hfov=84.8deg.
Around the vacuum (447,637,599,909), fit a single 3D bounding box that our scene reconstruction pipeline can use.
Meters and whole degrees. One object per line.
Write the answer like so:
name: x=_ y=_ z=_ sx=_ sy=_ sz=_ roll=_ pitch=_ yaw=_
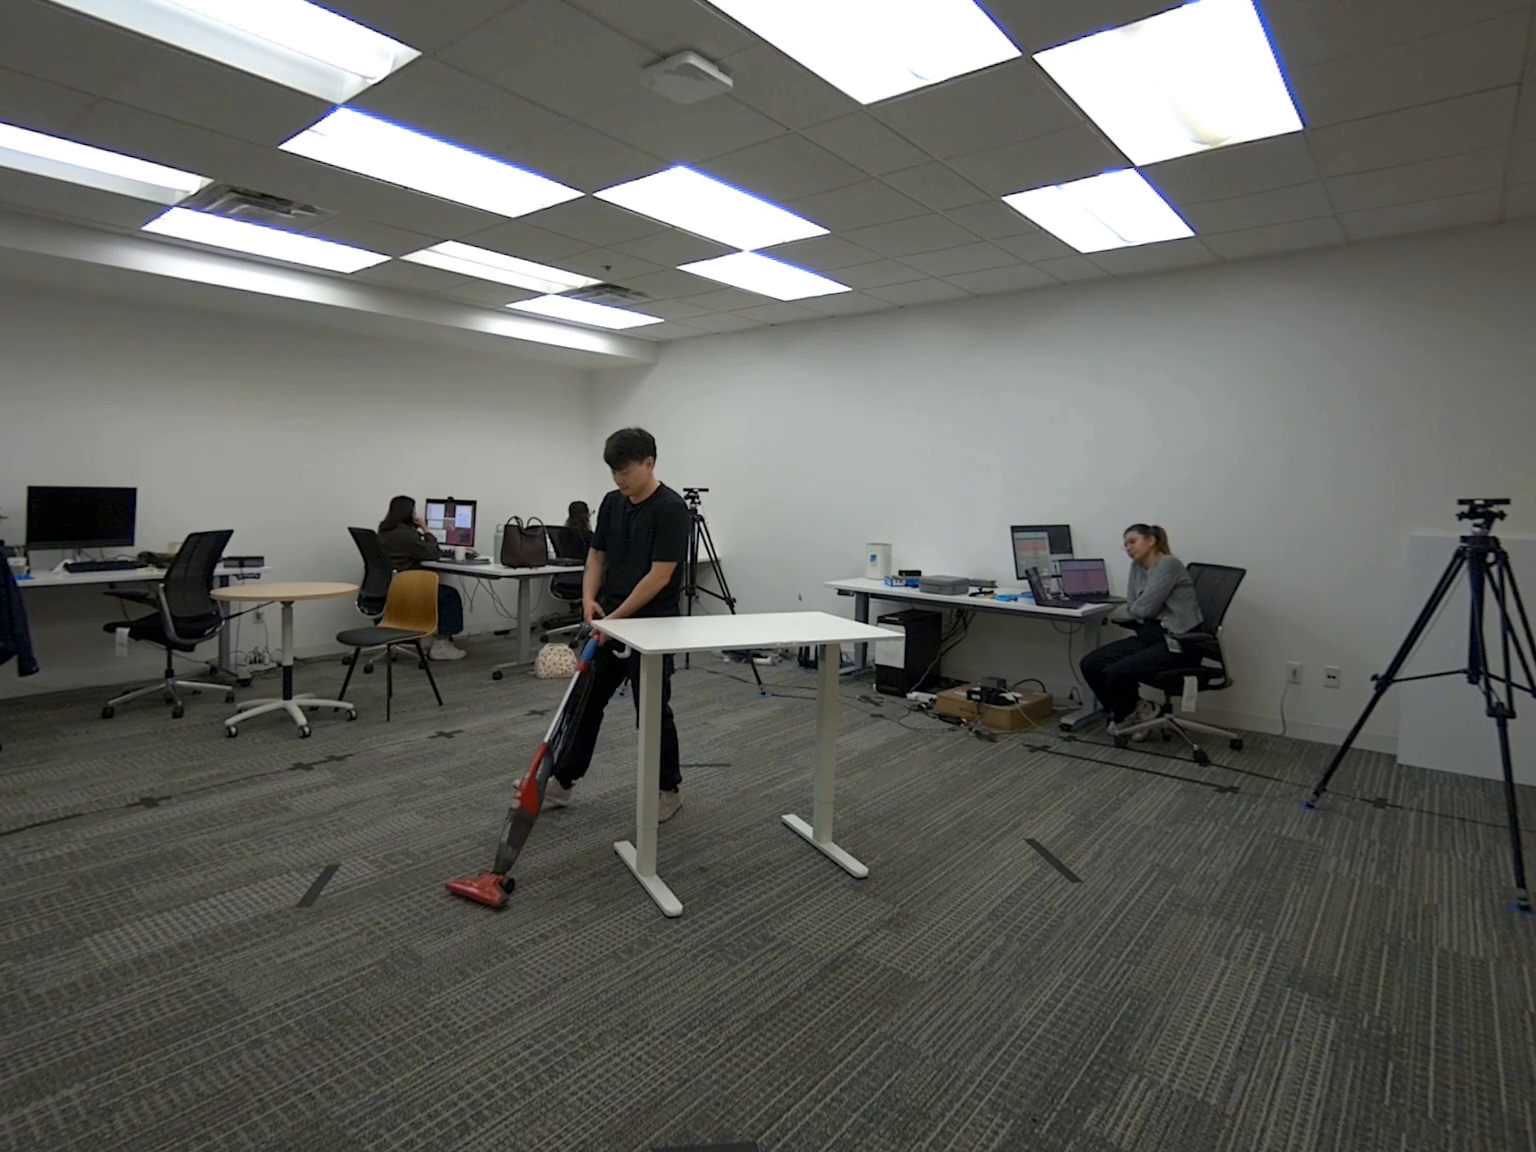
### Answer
vacuum: x=-0.819 y=0.650 z=3.142 sx=0.258 sy=1.065 sz=0.138 roll=5 pitch=-34 yaw=21
